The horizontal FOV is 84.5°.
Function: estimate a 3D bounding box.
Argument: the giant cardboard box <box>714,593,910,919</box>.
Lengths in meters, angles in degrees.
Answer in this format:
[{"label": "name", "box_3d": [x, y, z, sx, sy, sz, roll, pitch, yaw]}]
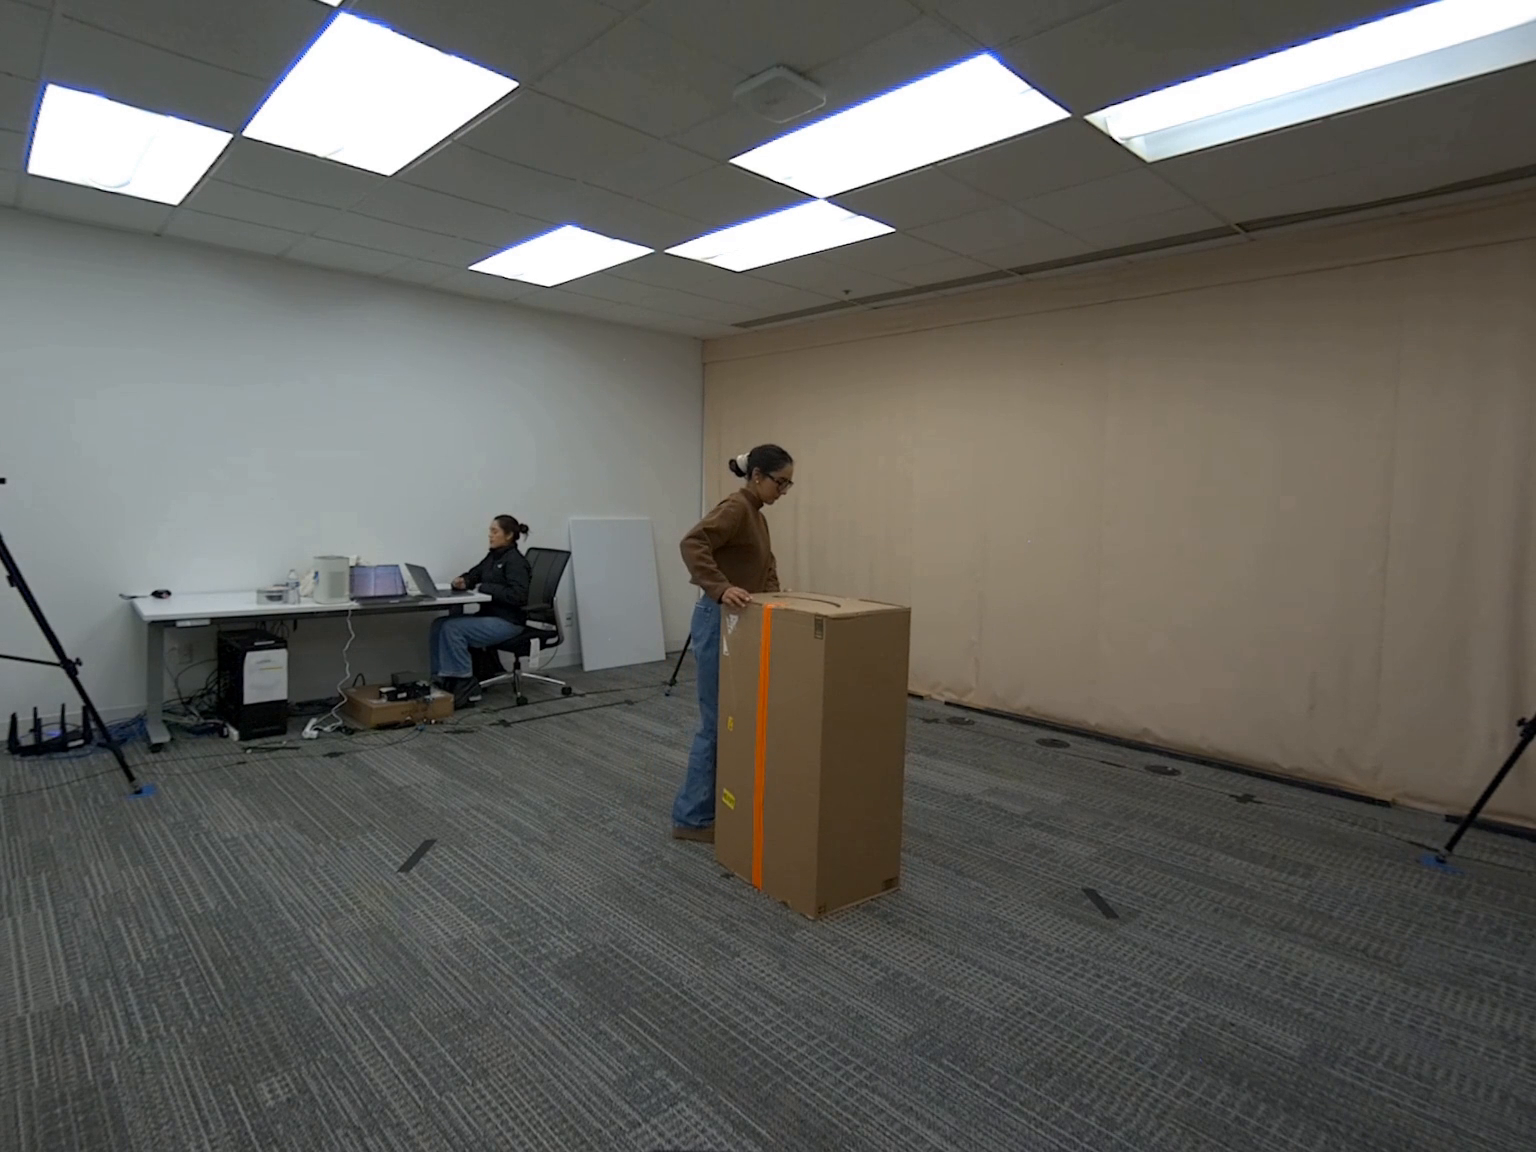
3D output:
[{"label": "giant cardboard box", "box_3d": [0.145, 0.604, 3.098, 0.417, 1.023, 0.592, -1, 4, -37]}]
